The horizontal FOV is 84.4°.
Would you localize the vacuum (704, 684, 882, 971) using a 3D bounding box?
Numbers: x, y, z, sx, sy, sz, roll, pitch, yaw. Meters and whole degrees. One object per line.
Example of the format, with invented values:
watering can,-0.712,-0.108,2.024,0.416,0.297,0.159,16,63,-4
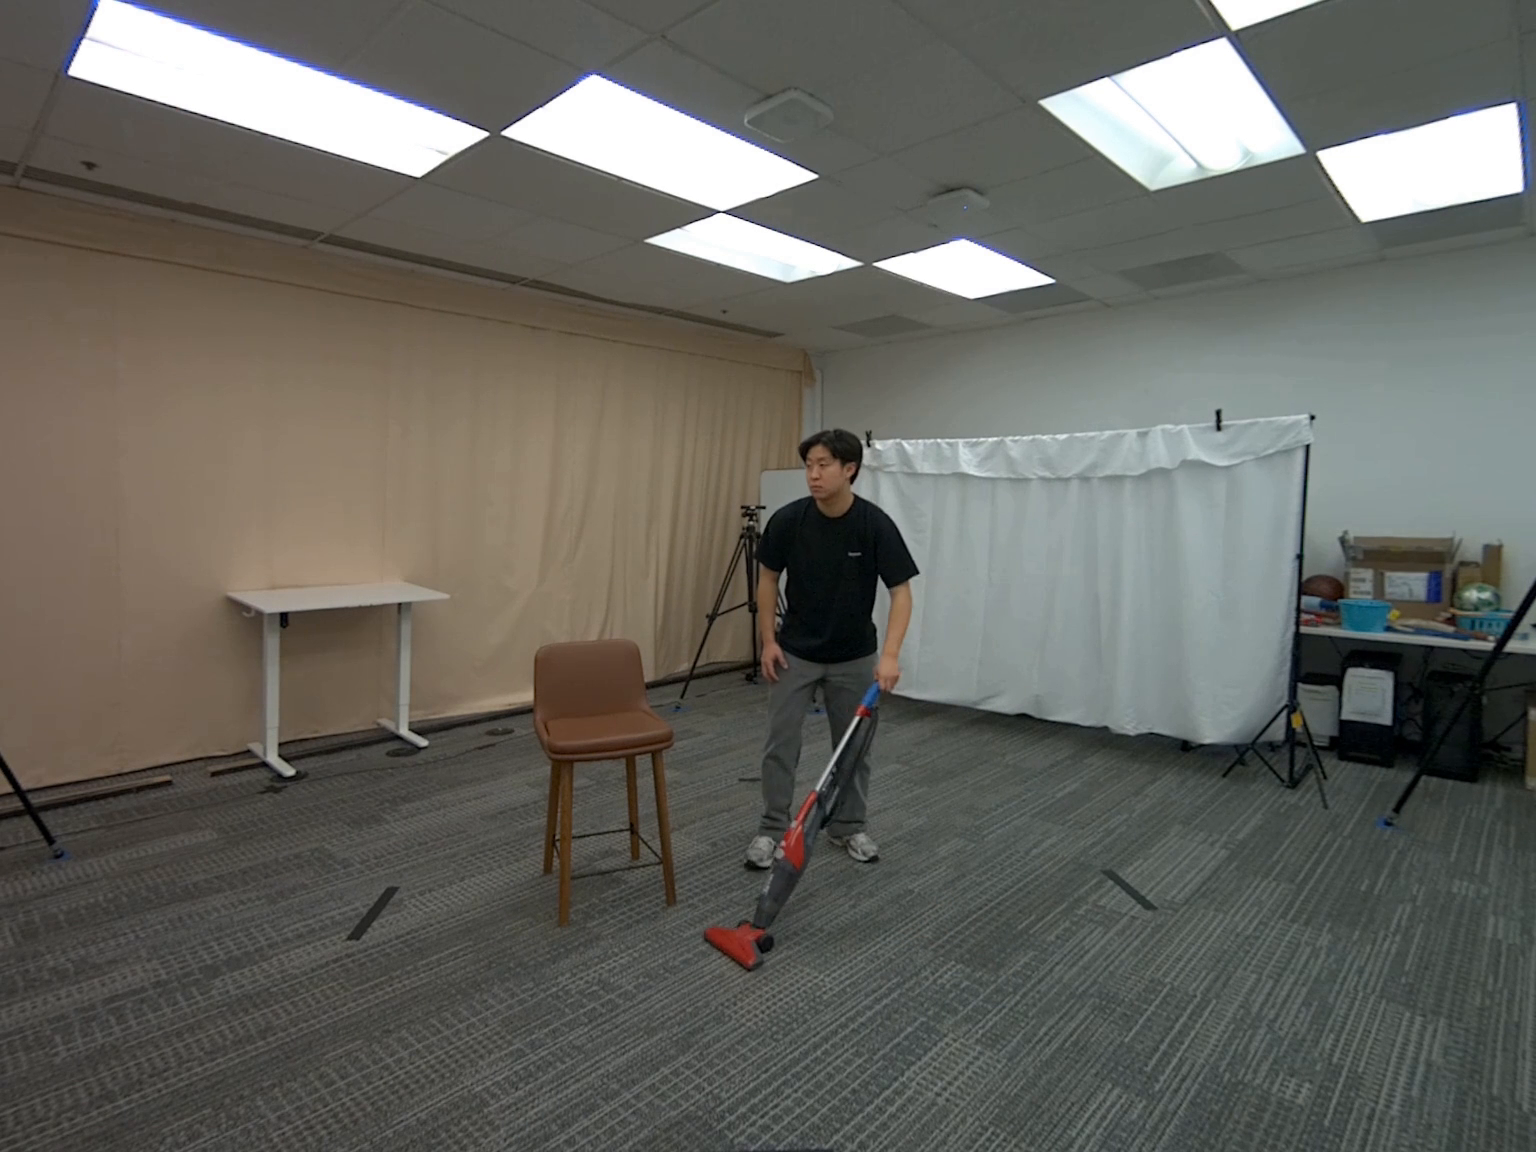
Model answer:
vacuum,0.193,0.742,2.833,0.261,1.048,0.139,8,-30,45
